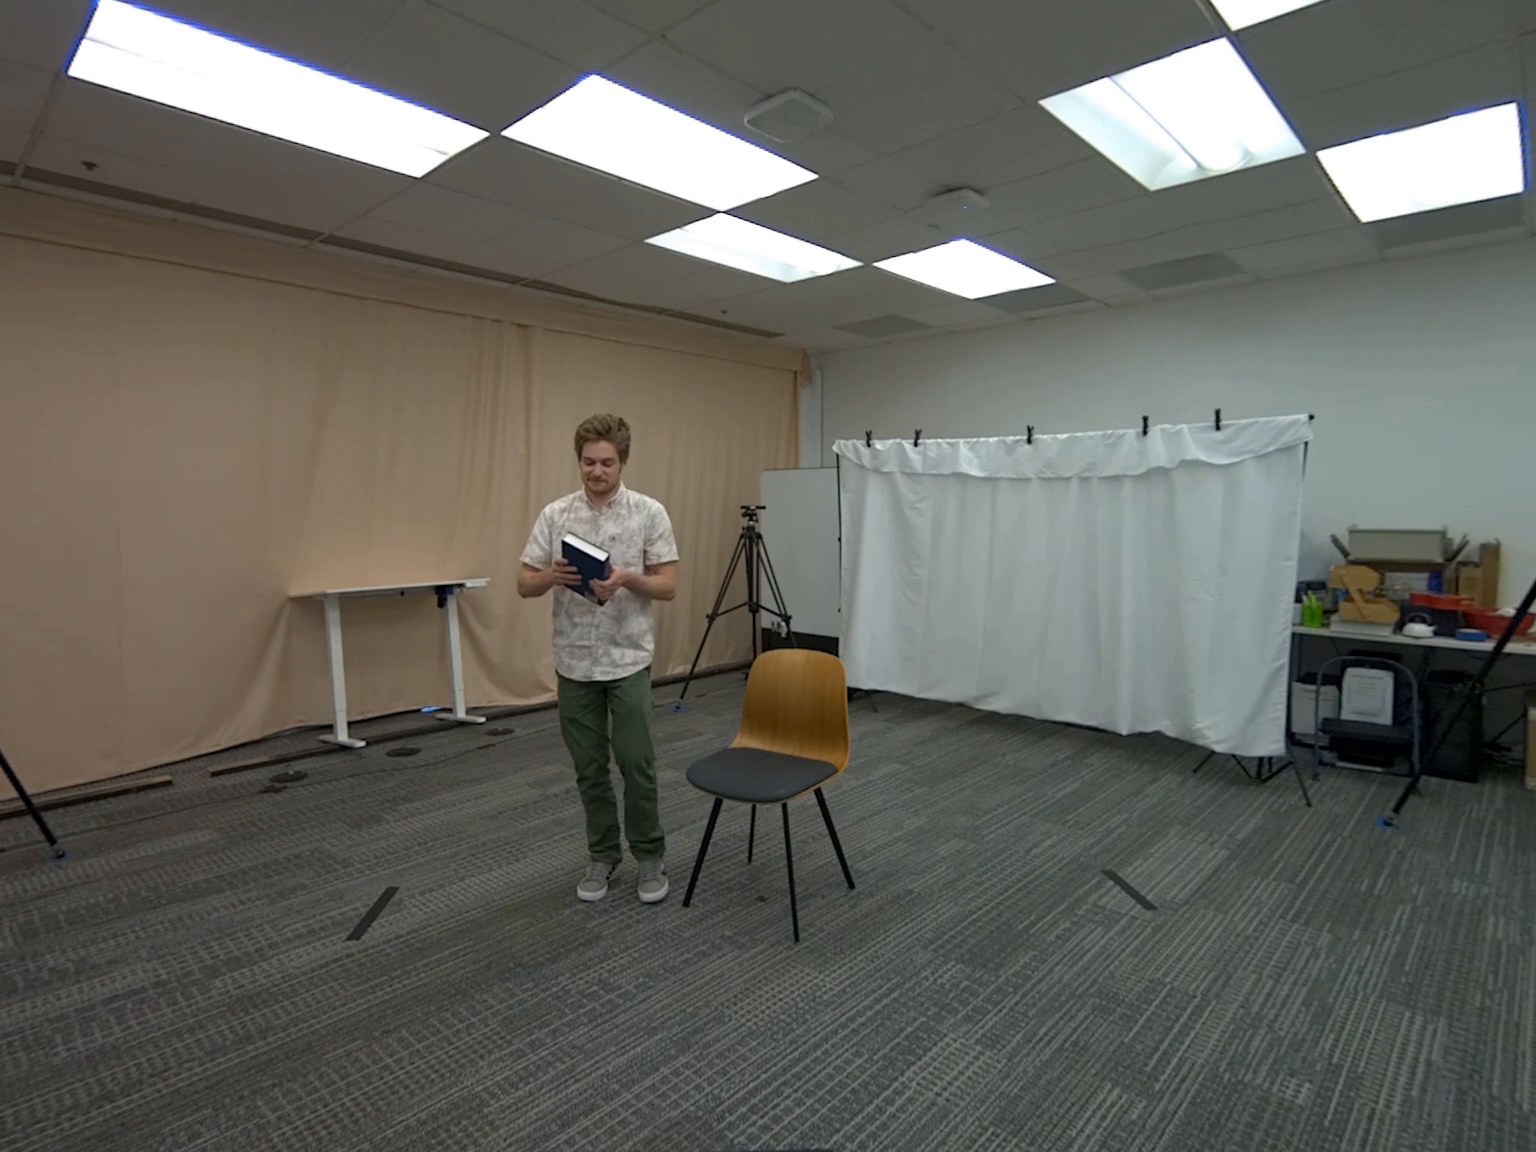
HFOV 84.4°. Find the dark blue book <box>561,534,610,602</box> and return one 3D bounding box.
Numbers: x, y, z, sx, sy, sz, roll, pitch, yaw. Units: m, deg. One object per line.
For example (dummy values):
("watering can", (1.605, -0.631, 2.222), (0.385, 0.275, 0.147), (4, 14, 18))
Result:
("dark blue book", (-0.599, -0.021, 2.751), (0.166, 0.242, 0.045), (29, 51, 12))
